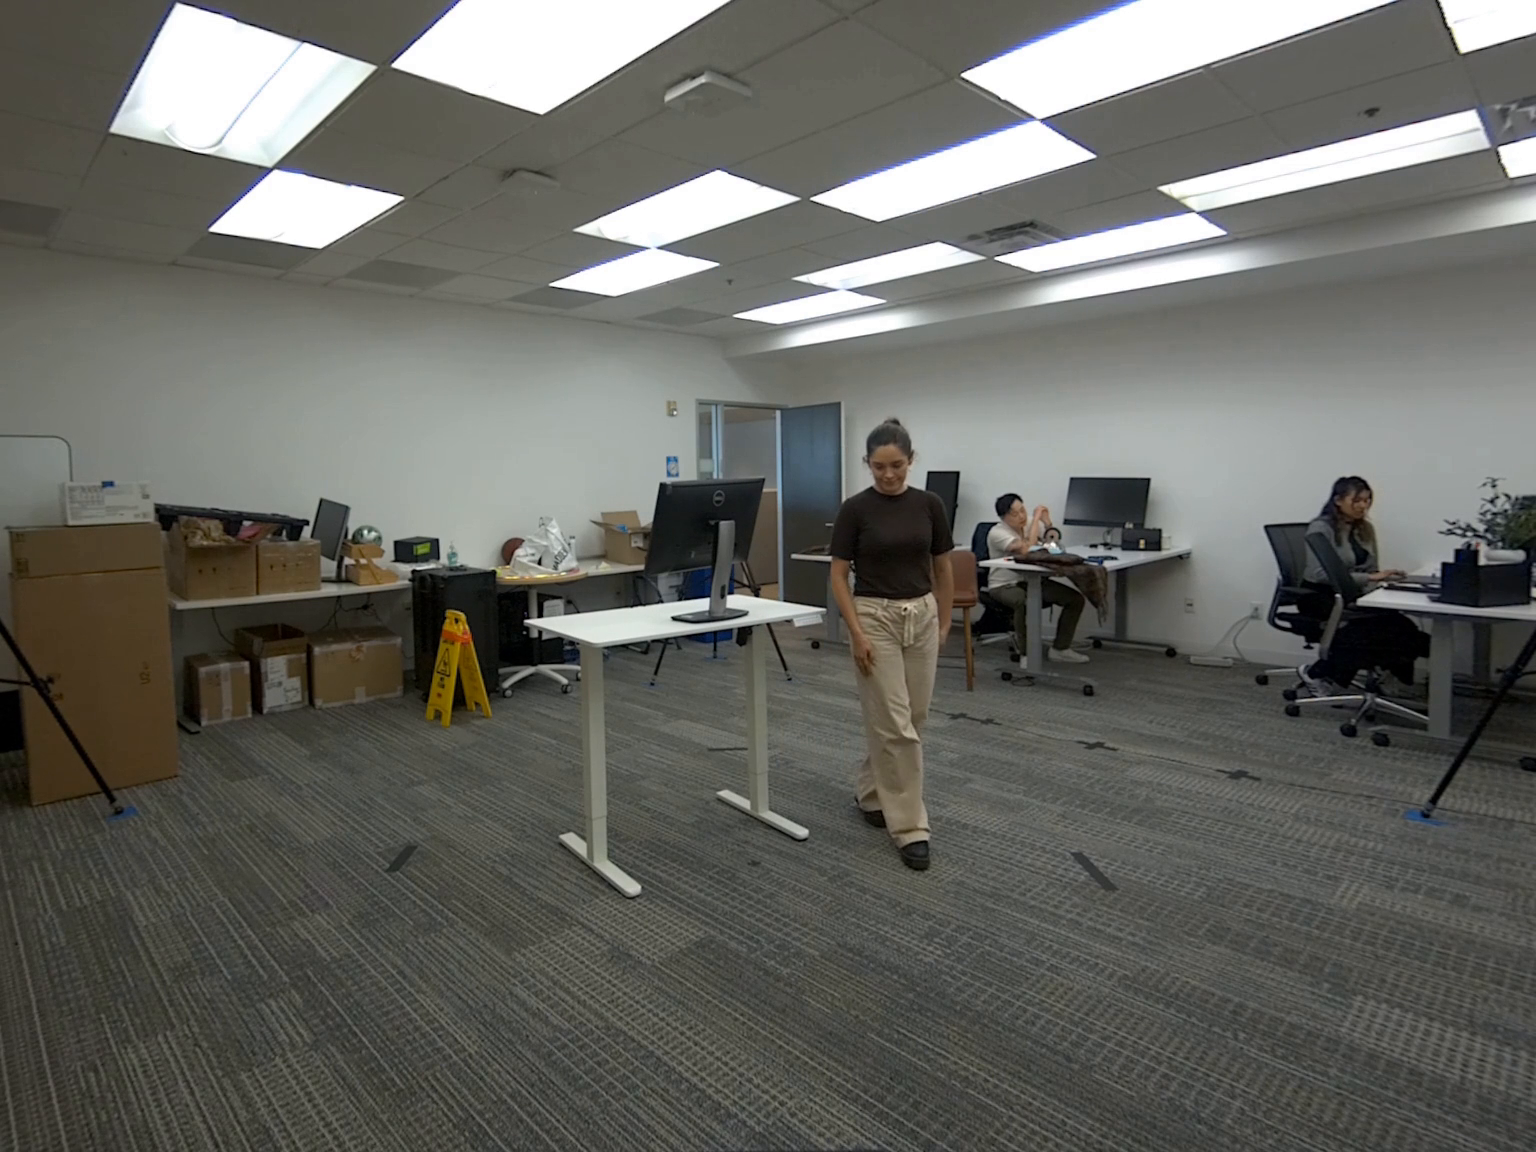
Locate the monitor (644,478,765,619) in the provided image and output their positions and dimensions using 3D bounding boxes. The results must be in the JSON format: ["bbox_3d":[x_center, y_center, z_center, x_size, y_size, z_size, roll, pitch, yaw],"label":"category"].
[{"bbox_3d":[-0.209,-0.096,3.165,0.193,0.519,0.526,6,9,39],"label":"monitor"}]
